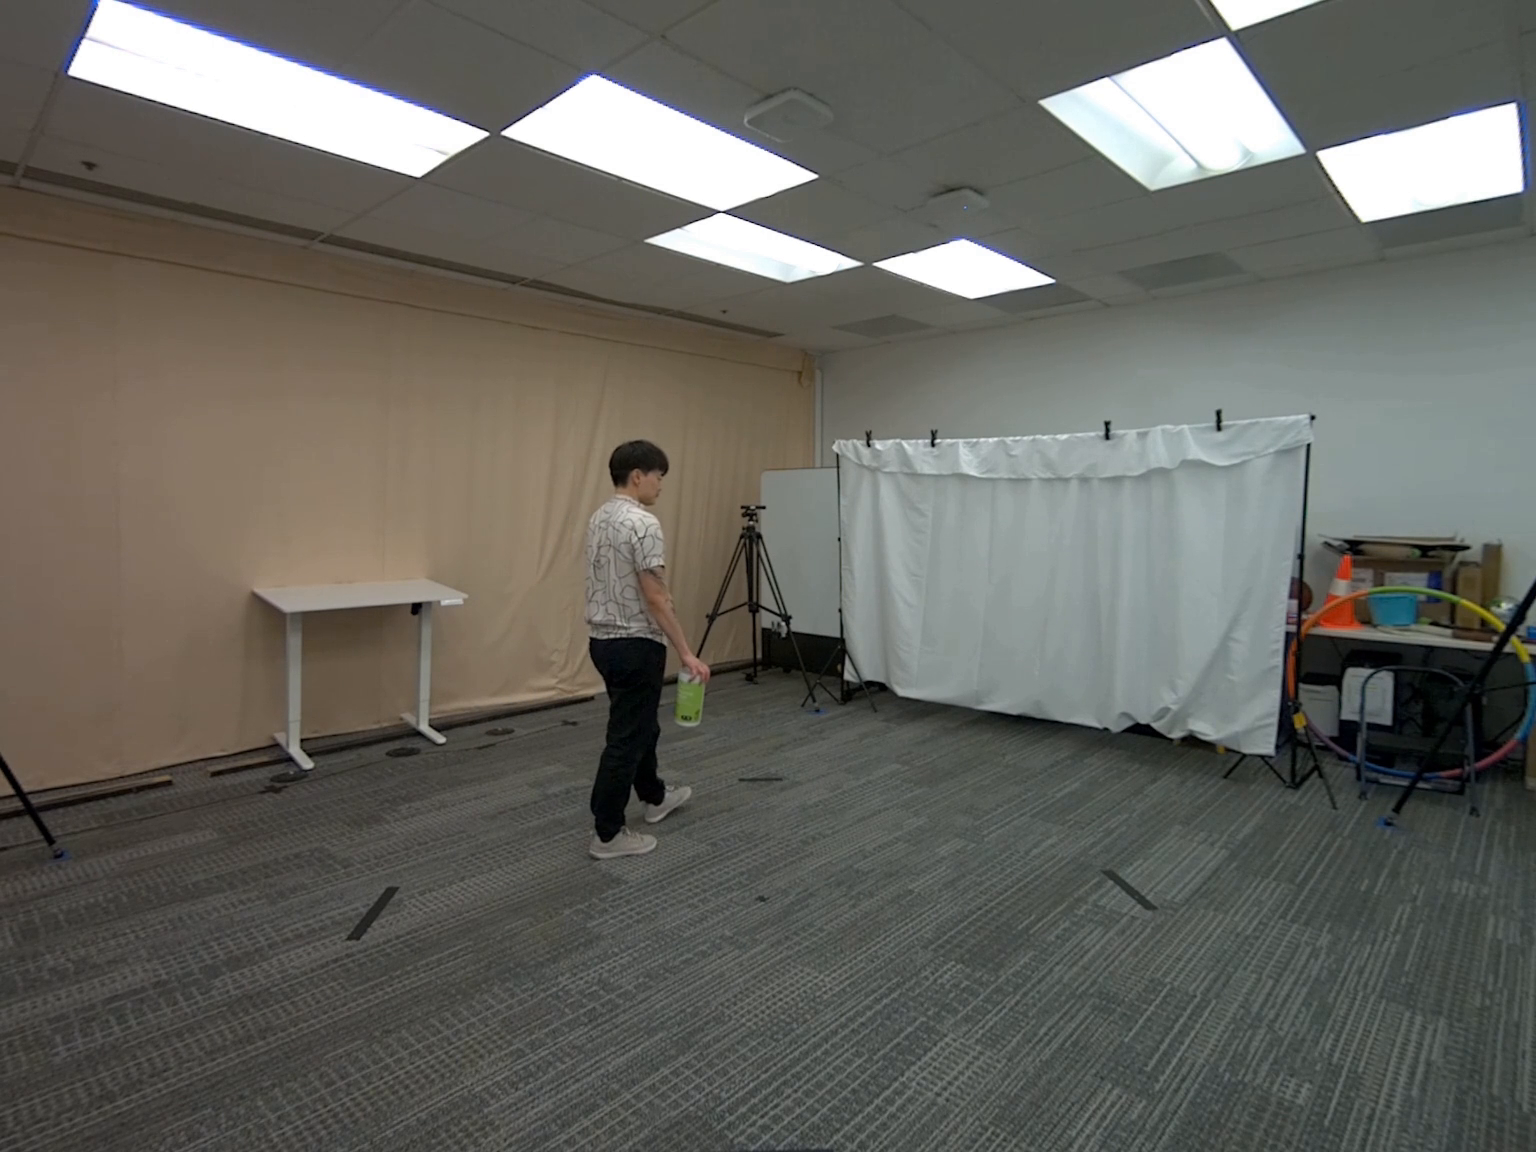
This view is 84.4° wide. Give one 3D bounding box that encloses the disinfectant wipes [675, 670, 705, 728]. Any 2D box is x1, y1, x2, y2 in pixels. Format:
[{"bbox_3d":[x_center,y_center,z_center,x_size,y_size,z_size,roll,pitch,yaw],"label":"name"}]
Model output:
[{"bbox_3d":[-0.314,0.479,3.321,0.117,0.216,0.119,4,14,-3],"label":"disinfectant wipes"}]
